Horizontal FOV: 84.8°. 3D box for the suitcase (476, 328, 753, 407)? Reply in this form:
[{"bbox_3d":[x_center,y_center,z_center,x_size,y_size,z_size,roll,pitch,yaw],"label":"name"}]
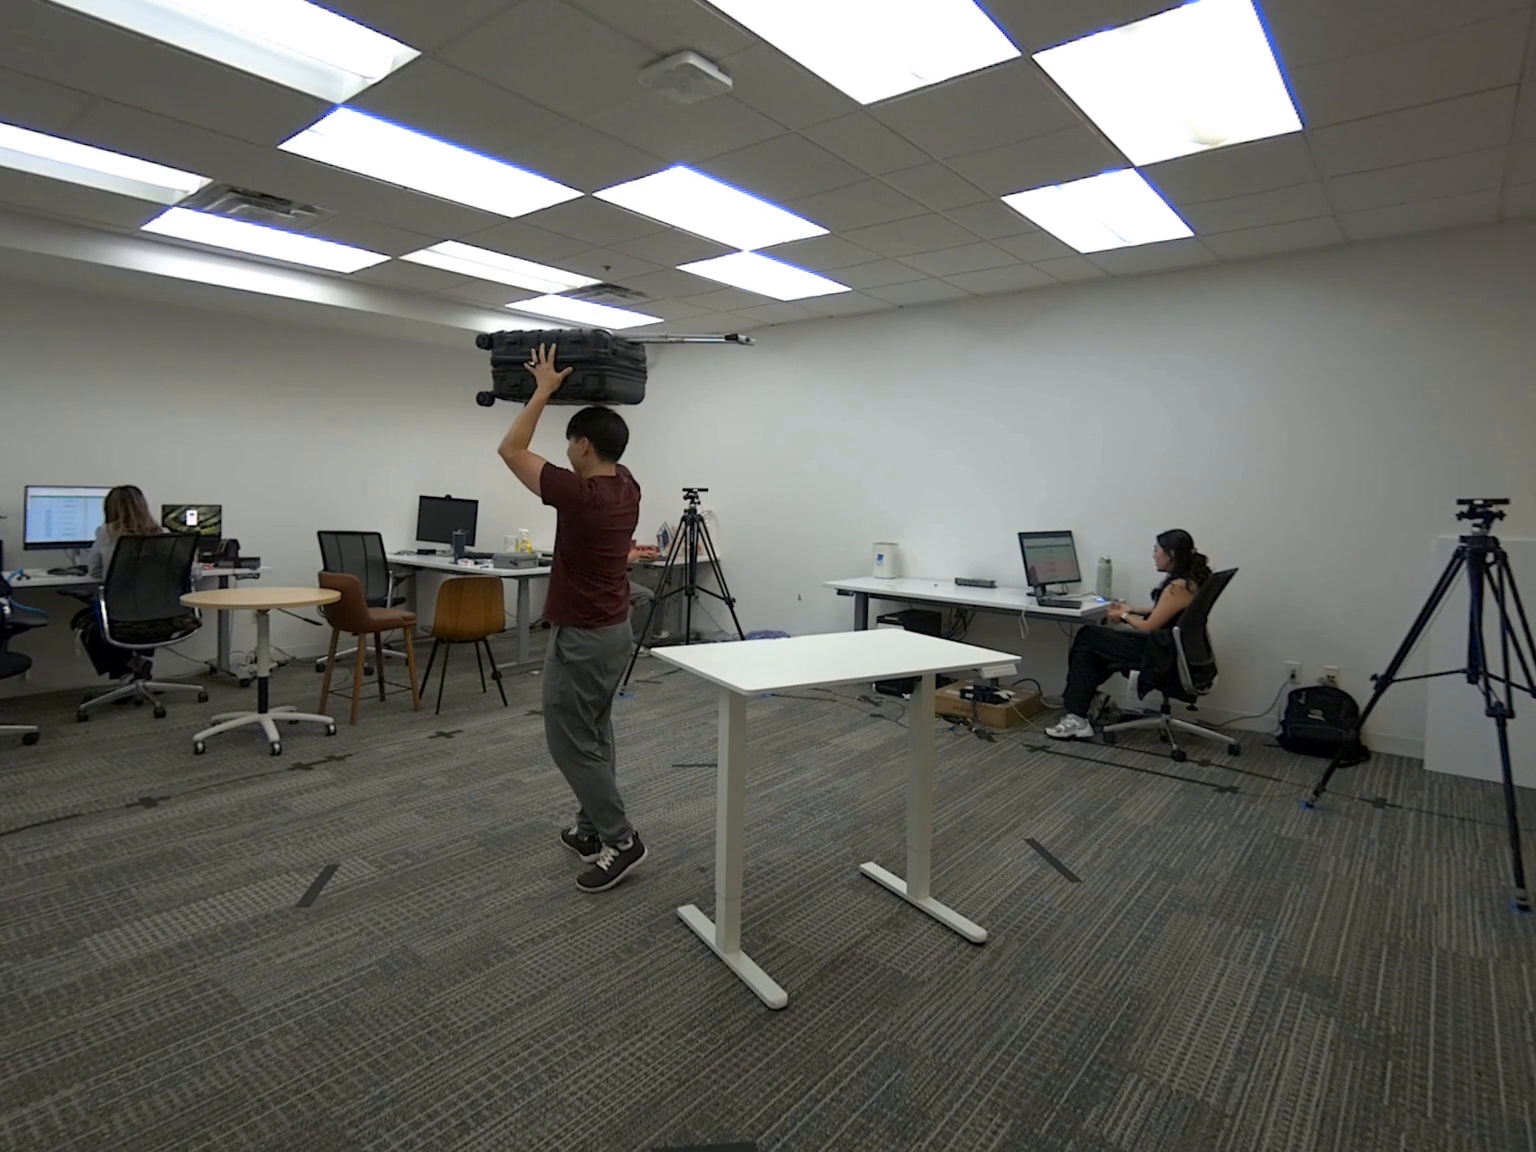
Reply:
[{"bbox_3d":[-0.557,-0.733,3.022,1.003,0.255,0.377,6,10,22],"label":"suitcase"}]
